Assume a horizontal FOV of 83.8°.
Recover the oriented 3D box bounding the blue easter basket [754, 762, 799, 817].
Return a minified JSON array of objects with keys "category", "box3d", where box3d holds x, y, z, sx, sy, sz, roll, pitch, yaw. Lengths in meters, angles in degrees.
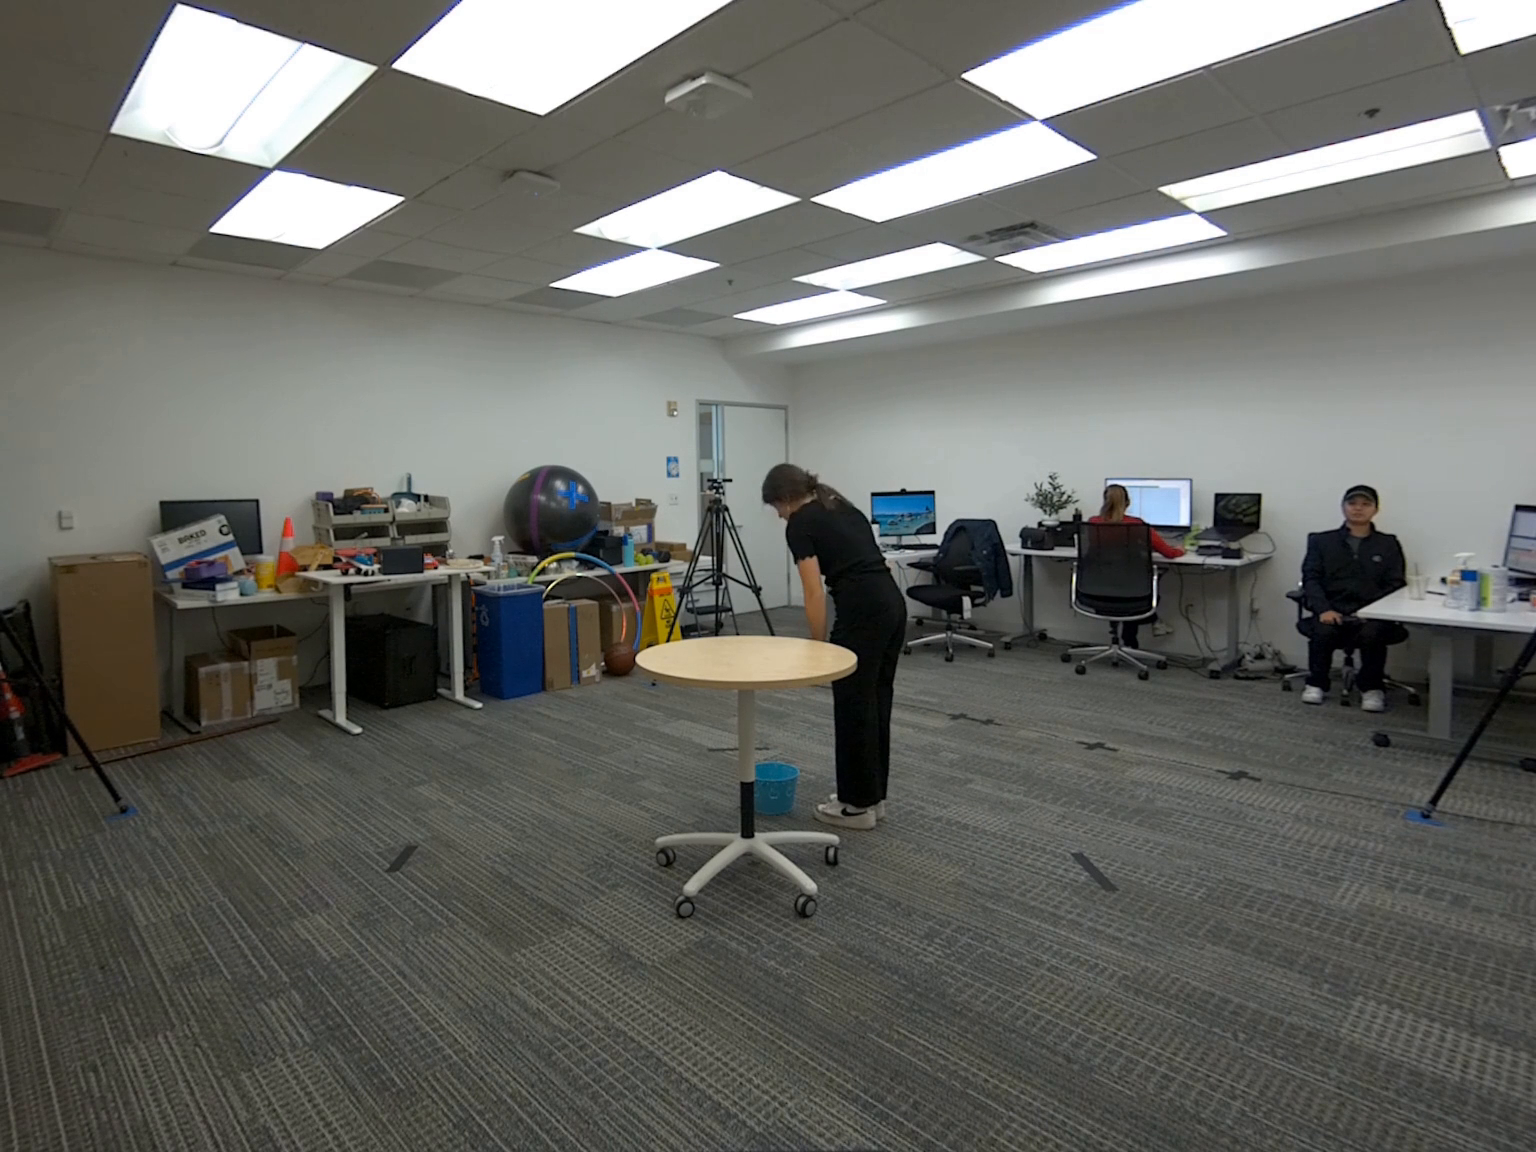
[{"category":"blue easter basket","box3d":[0.025,0.905,3.646,0.243,0.155,0.245,-1,6,-2]}]
